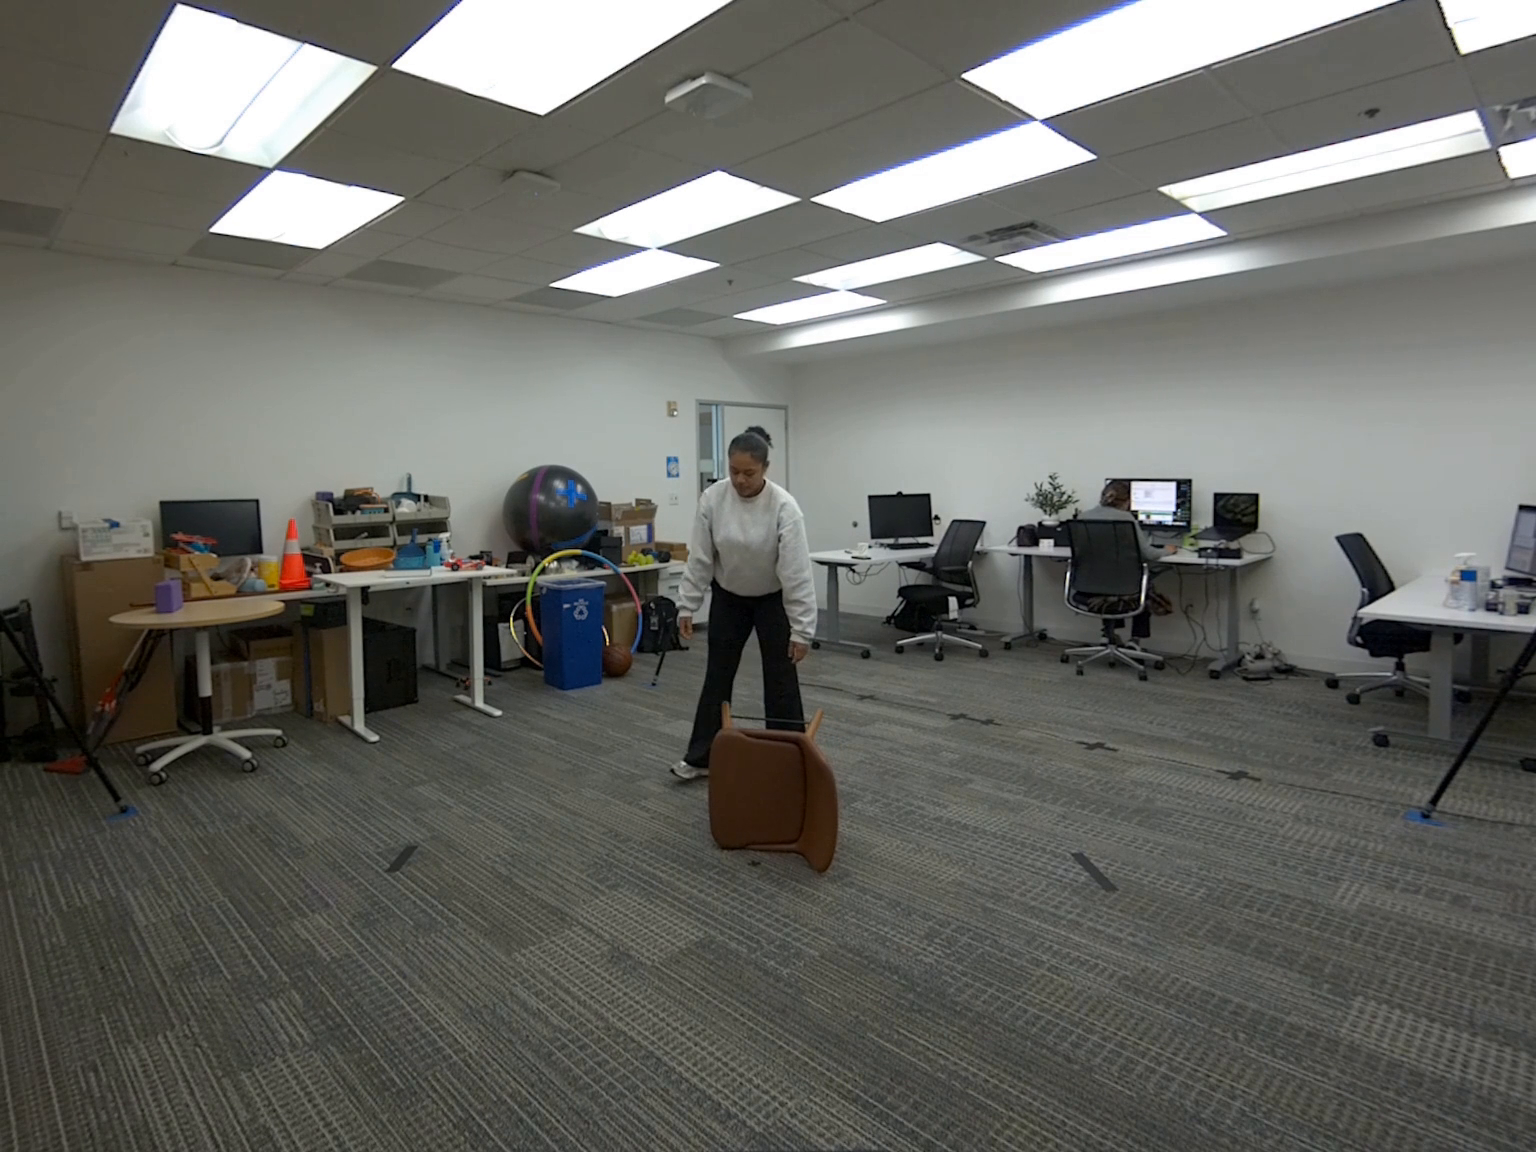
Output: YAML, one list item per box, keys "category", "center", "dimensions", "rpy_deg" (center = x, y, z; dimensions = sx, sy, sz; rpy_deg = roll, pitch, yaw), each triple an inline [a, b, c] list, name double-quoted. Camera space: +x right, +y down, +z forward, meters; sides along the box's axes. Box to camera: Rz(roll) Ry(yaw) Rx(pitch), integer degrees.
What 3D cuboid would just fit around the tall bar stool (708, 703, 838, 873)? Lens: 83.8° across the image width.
- category: "tall bar stool"
  center: [0.004, 0.809, 3.373]
  dimensions: [0.469, 0.455, 0.890]
  rpy_deg: [2, 4, 1]
